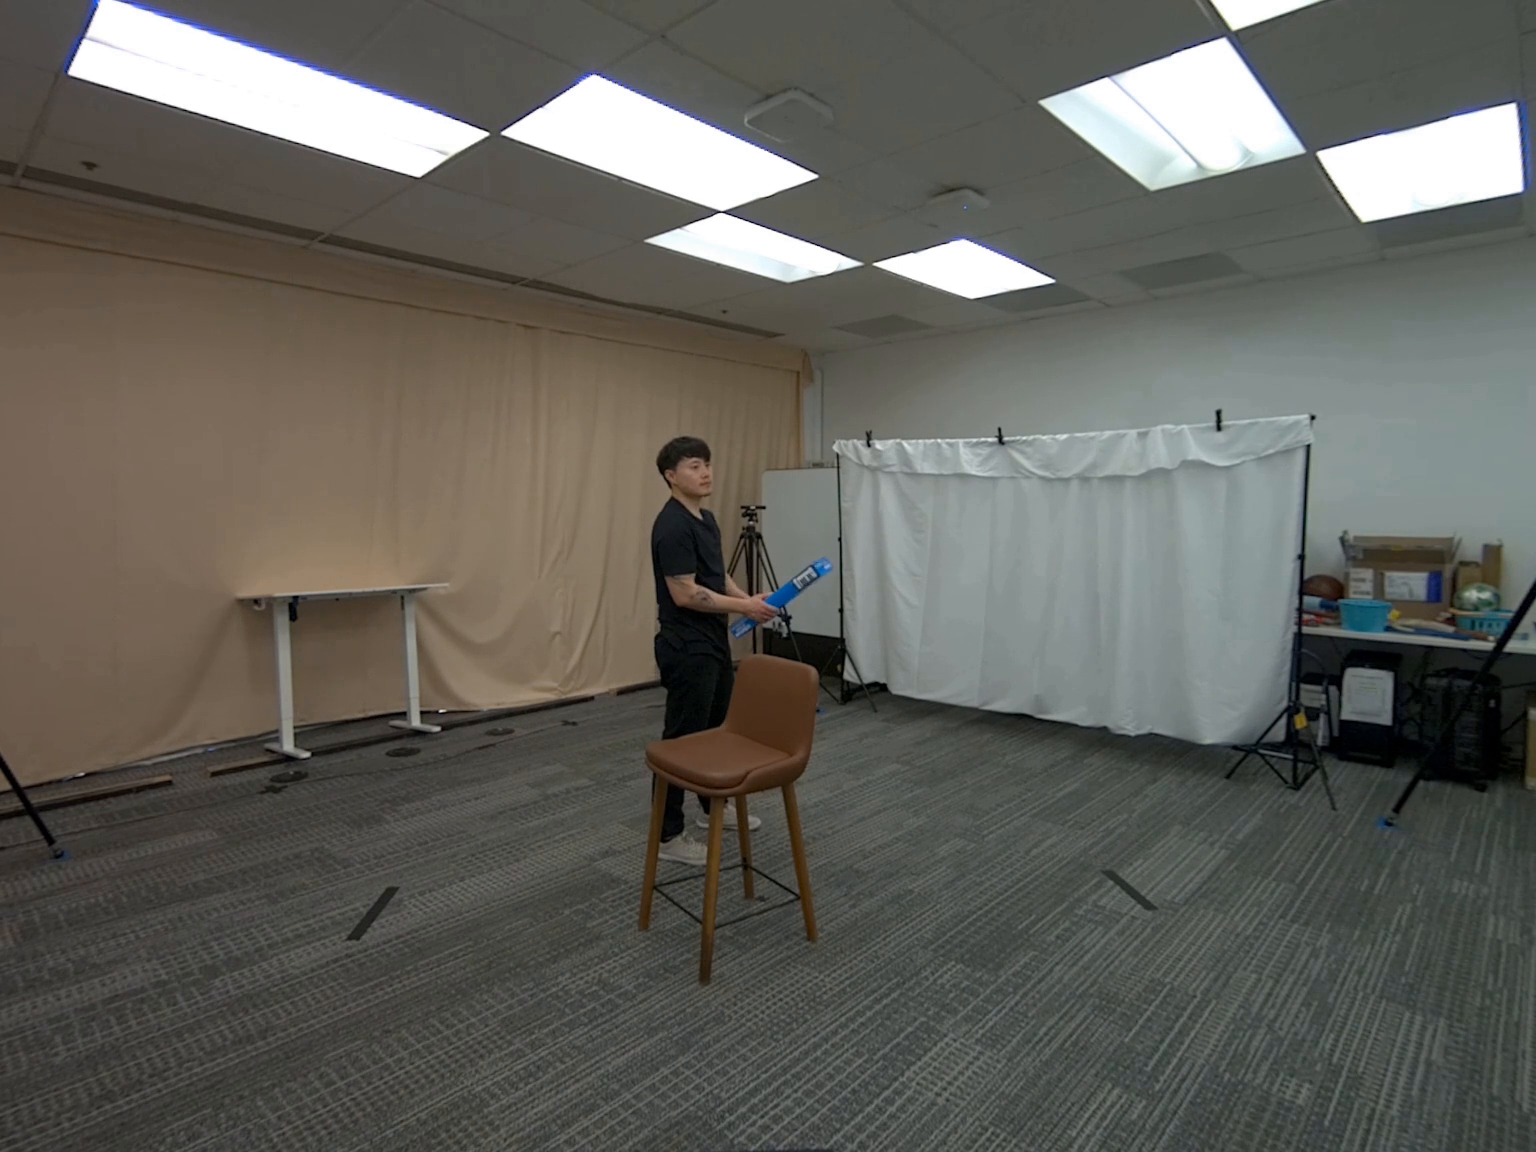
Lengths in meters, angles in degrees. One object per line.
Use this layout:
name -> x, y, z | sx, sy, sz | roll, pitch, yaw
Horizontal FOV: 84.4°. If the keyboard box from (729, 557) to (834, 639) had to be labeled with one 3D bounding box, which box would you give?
keyboard box -> 0.050, 0.086, 3.292 | 0.441, 0.059, 0.173 | -38, -5, 22
